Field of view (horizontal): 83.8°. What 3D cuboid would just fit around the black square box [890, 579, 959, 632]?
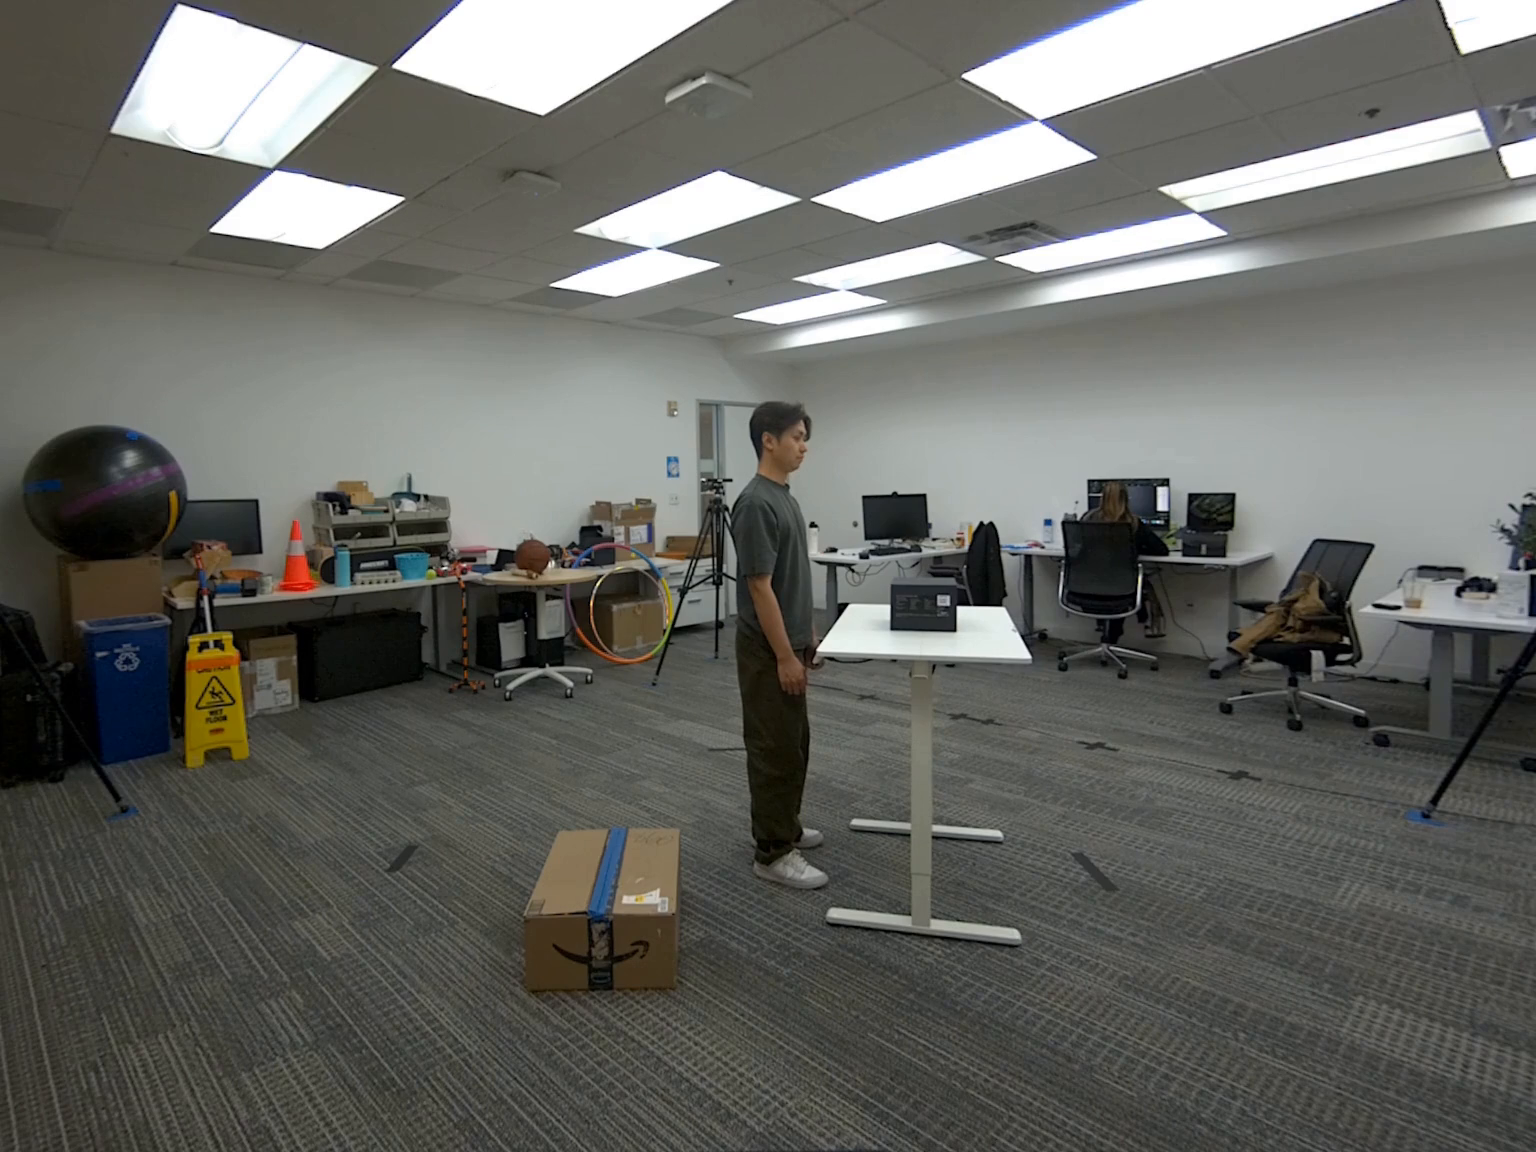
[{"bbox_3d":[0.539,0.089,2.925,0.220,0.155,0.225,2,4,13],"label":"black square box"}]
